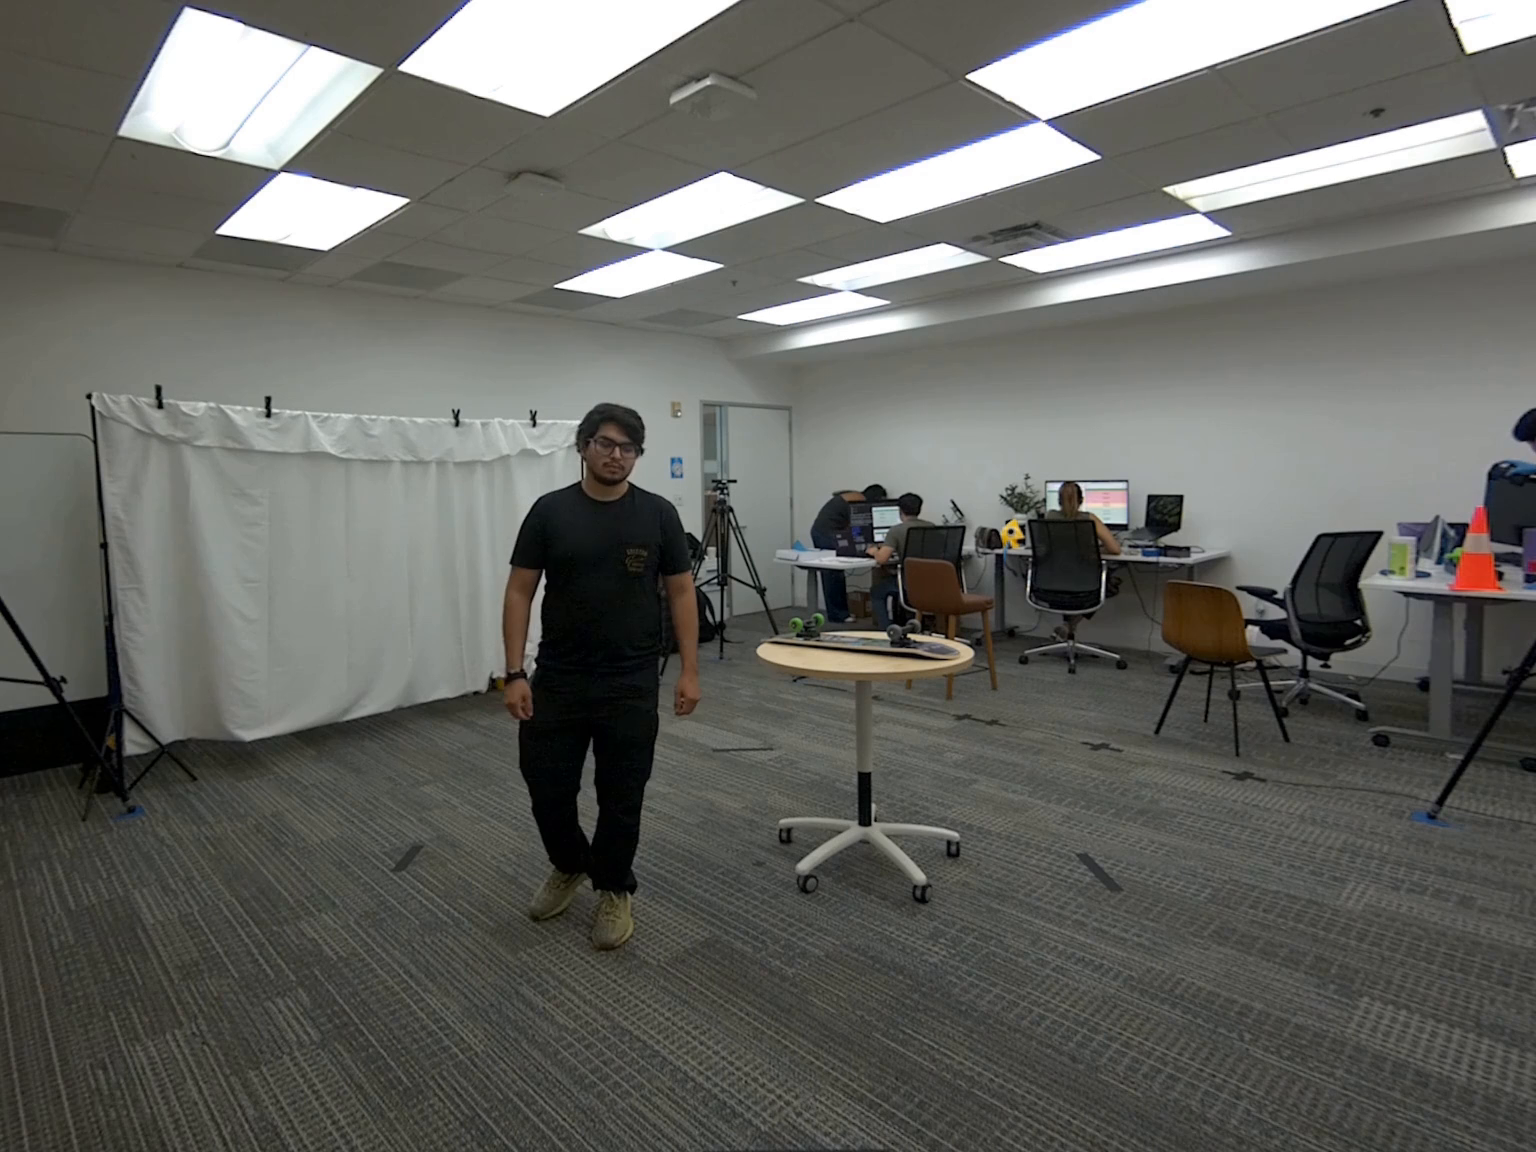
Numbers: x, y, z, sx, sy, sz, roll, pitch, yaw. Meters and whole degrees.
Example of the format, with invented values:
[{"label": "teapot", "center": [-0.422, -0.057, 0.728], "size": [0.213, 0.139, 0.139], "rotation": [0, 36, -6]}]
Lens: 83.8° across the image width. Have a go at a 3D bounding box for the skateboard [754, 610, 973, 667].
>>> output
[{"label": "skateboard", "center": [0.323, 0.215, 3.113], "size": [0.808, 0.110, 0.189], "rotation": [2, 8, 38]}]
